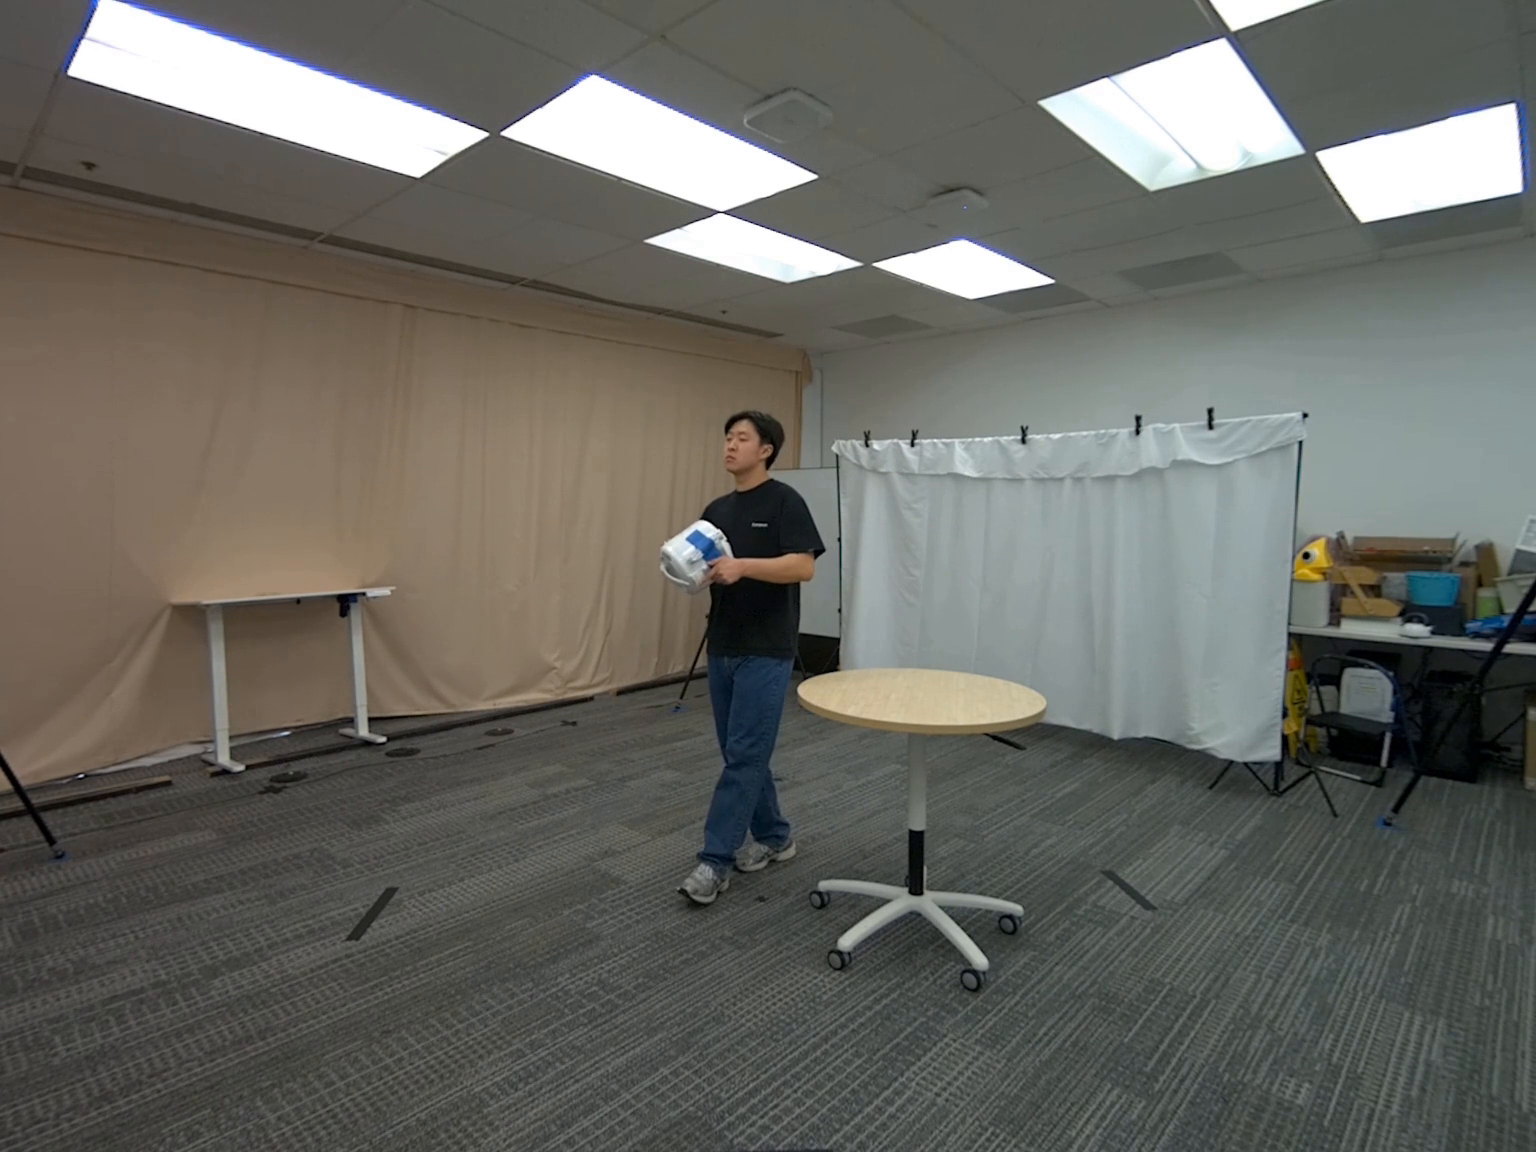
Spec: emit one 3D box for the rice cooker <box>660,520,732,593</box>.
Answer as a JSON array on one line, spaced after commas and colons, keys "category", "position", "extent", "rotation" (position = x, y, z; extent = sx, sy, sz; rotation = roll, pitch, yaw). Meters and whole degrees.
[{"category": "rice cooker", "position": [-0.254, -0.056, 2.962], "extent": [0.231, 0.211, 0.229], "rotation": [-35, 40, -15]}]
